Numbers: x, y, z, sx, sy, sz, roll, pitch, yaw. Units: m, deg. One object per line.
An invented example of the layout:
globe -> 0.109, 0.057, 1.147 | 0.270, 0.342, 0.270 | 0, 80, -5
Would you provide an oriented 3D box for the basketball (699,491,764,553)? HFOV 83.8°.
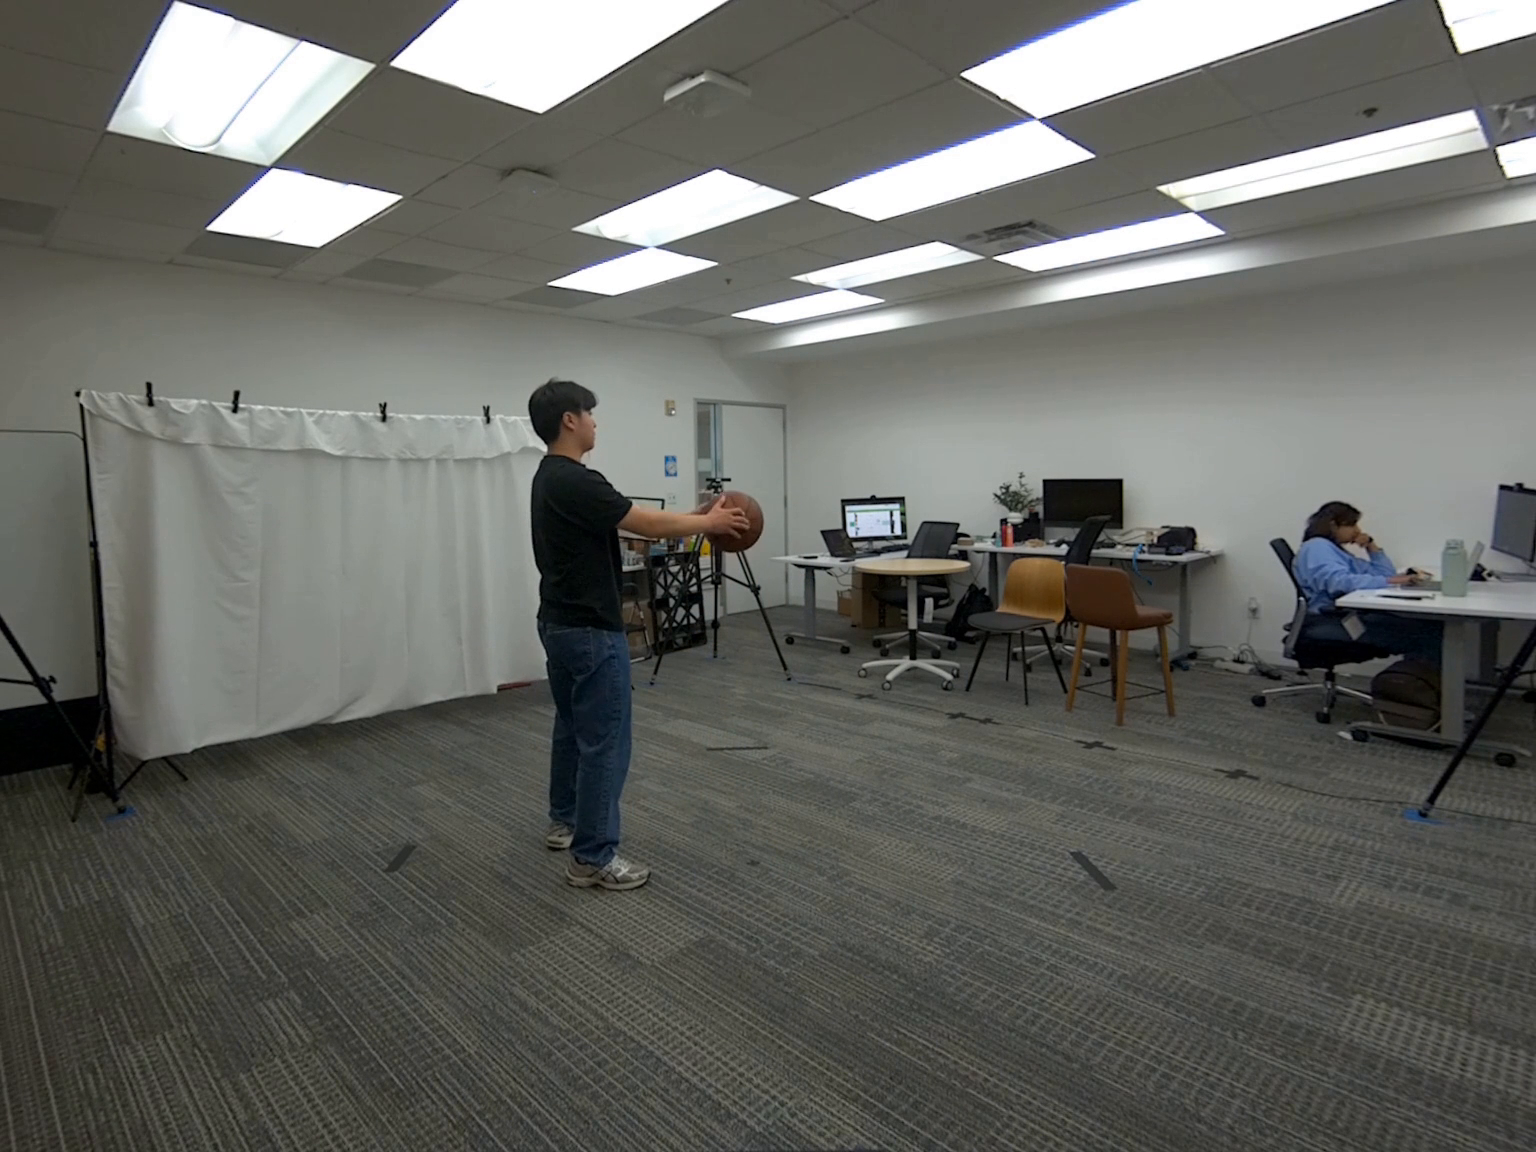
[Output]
basketball -> -0.139, -0.202, 3.265 | 0.236, 0.235, 0.237 | -1, 5, -2
